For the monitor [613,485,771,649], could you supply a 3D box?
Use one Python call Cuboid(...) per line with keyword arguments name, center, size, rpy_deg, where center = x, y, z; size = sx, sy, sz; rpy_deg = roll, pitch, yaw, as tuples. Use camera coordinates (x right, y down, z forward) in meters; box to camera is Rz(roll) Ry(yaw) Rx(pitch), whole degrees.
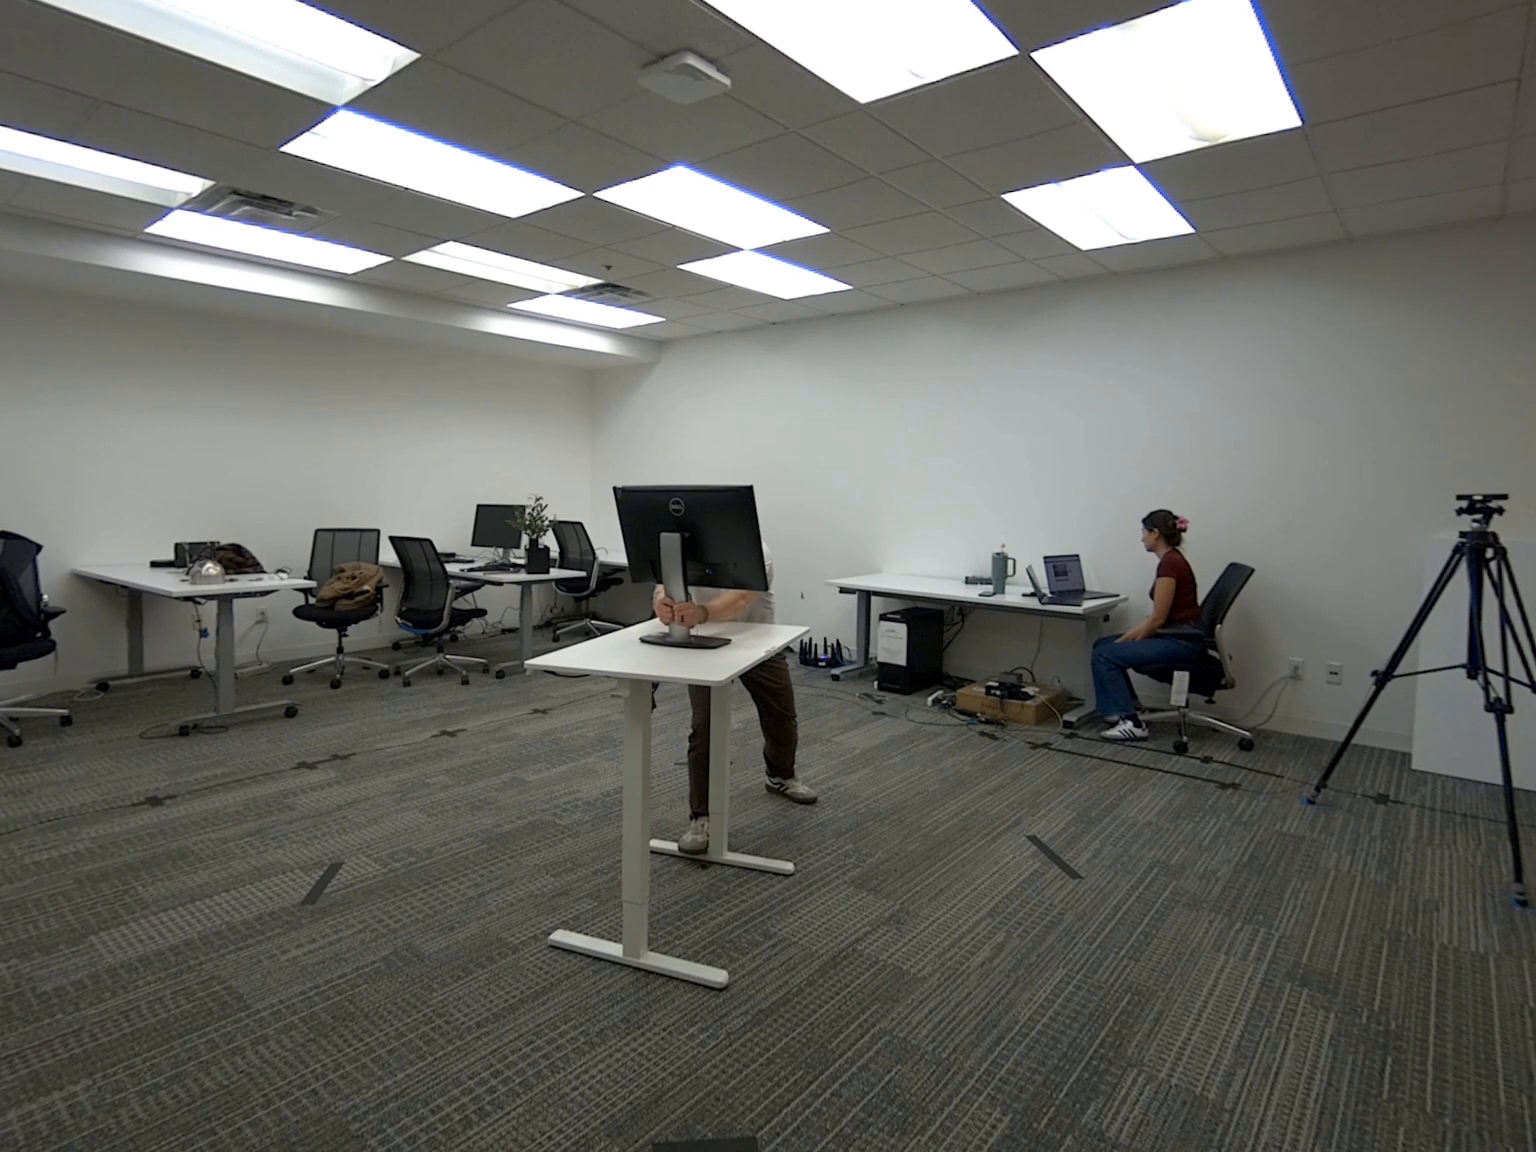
Cuboid(name="monitor", center=(-0.279, -0.041, 2.768), size=(0.554, 0.519, 0.183), rpy_deg=(2, 7, 29))
